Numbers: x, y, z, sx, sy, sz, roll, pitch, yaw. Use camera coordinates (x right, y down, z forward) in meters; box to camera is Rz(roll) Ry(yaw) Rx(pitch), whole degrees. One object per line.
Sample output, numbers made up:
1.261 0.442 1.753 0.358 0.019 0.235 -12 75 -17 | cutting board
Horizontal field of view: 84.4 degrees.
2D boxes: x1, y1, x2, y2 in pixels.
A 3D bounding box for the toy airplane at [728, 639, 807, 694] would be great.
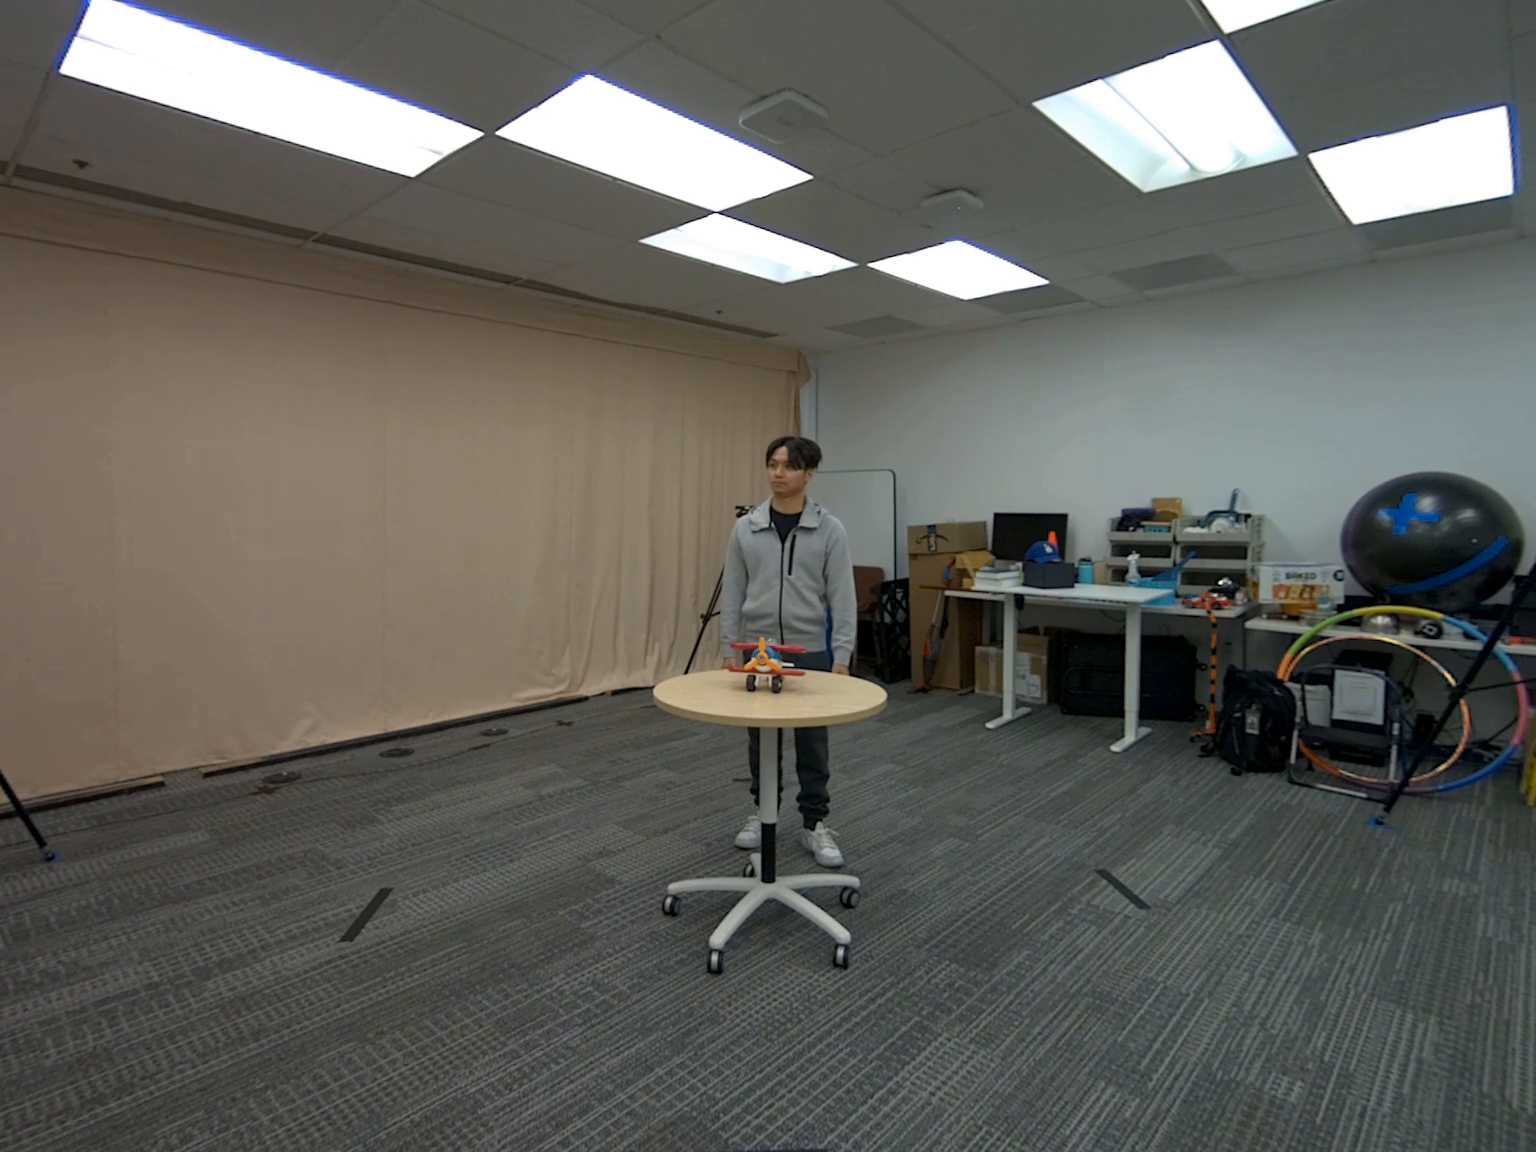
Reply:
-0.012 0.295 2.843 0.247 0.156 0.263 0 4 -15 | toy airplane
